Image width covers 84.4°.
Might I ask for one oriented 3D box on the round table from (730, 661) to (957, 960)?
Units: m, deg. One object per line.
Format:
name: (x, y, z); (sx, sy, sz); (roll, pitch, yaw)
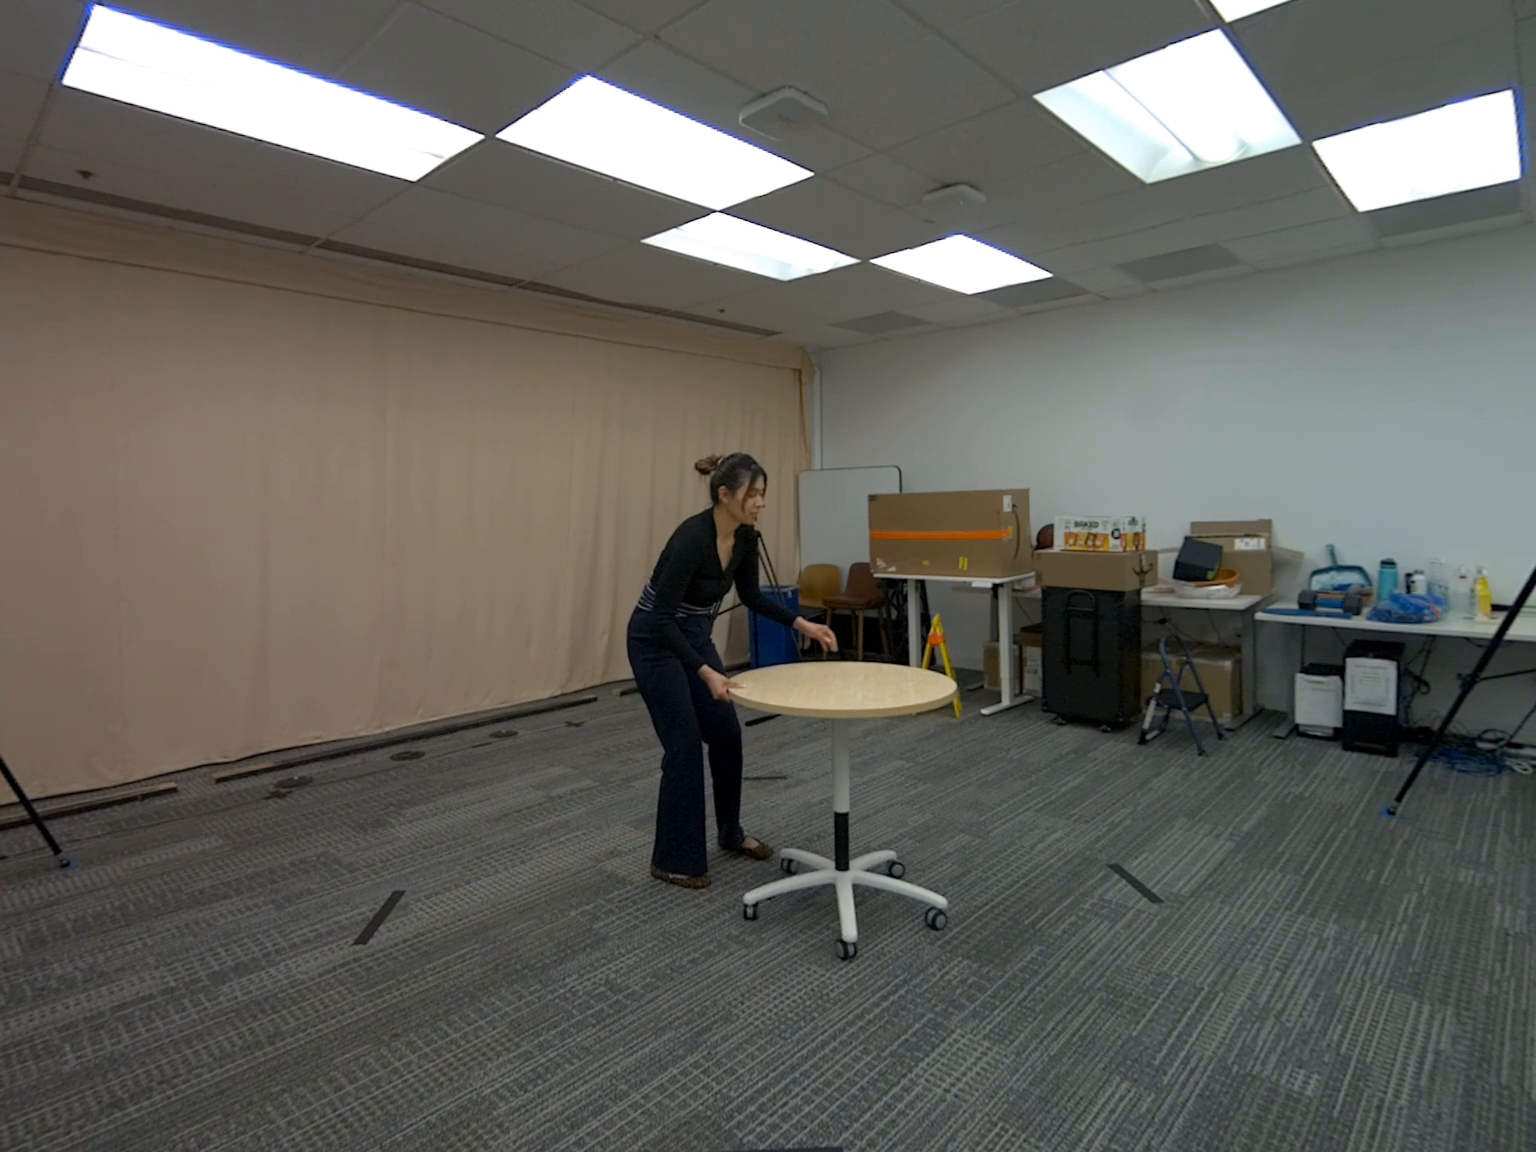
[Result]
round table: (0.252, 0.753, 2.872); (0.763, 0.792, 0.767); (-1, 4, -2)
